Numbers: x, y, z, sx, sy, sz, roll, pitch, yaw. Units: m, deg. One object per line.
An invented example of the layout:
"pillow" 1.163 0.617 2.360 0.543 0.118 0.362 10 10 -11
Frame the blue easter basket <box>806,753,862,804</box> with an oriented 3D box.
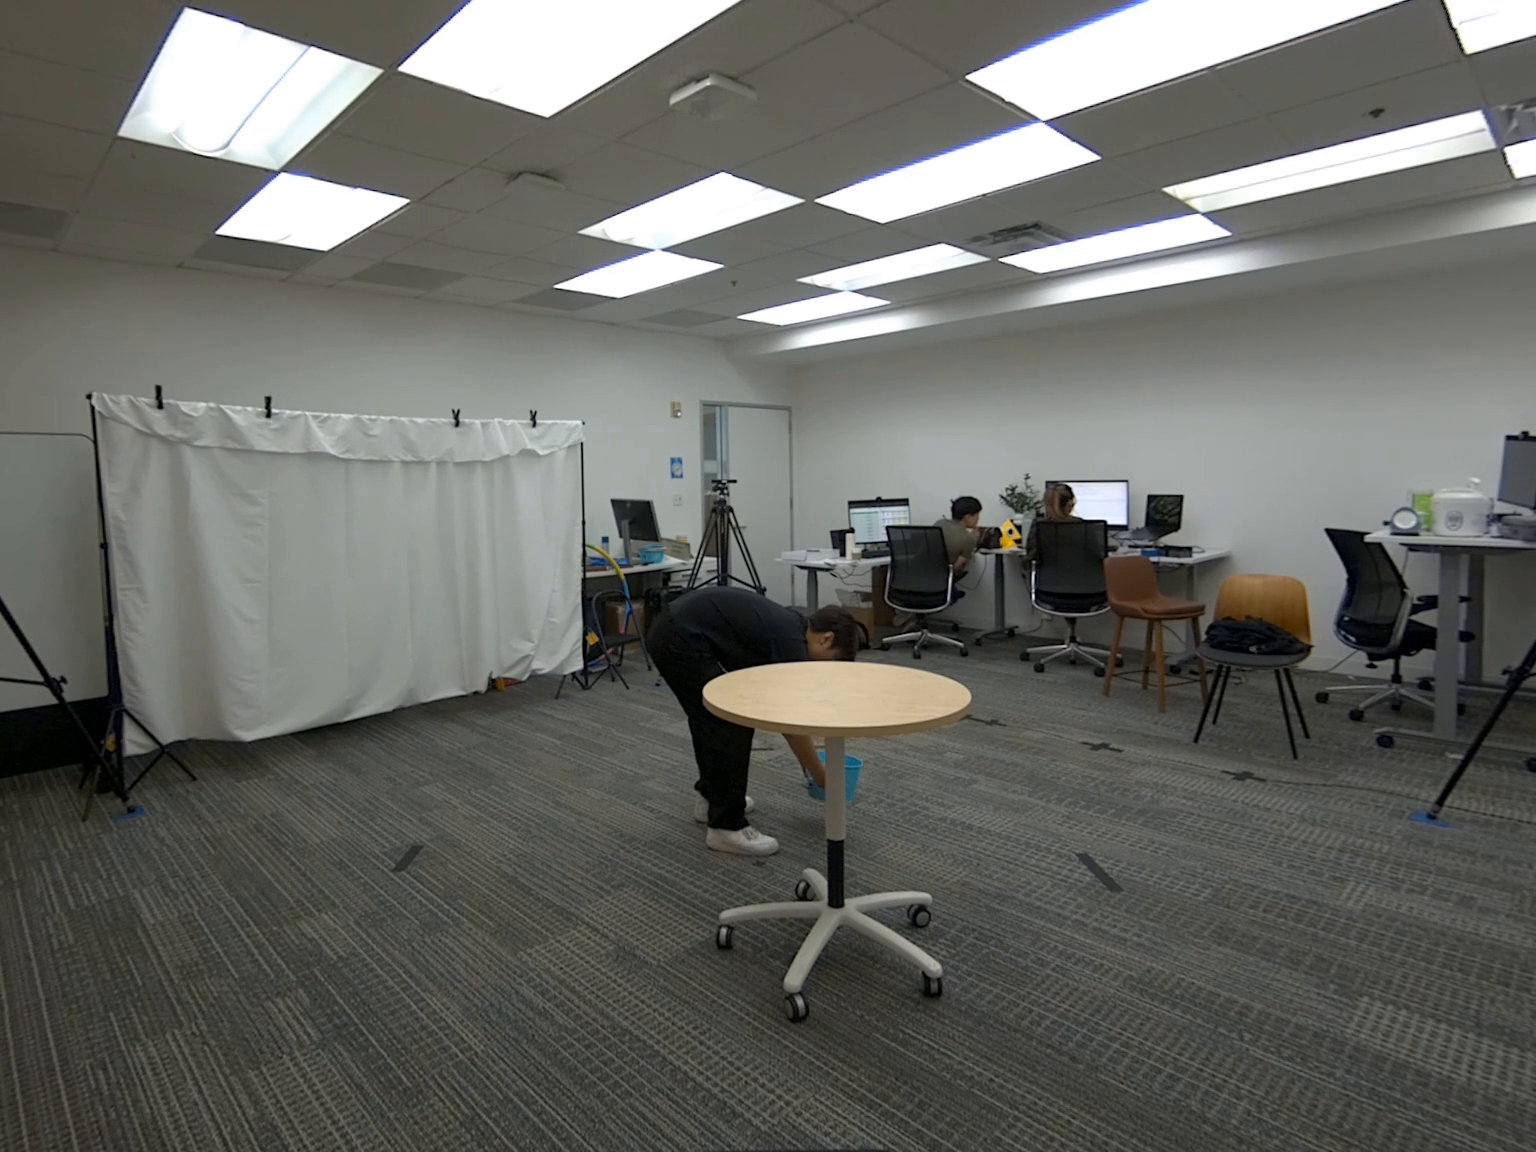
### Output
"blue easter basket" 0.267 0.811 3.452 0.243 0.156 0.244 7 2 -2
